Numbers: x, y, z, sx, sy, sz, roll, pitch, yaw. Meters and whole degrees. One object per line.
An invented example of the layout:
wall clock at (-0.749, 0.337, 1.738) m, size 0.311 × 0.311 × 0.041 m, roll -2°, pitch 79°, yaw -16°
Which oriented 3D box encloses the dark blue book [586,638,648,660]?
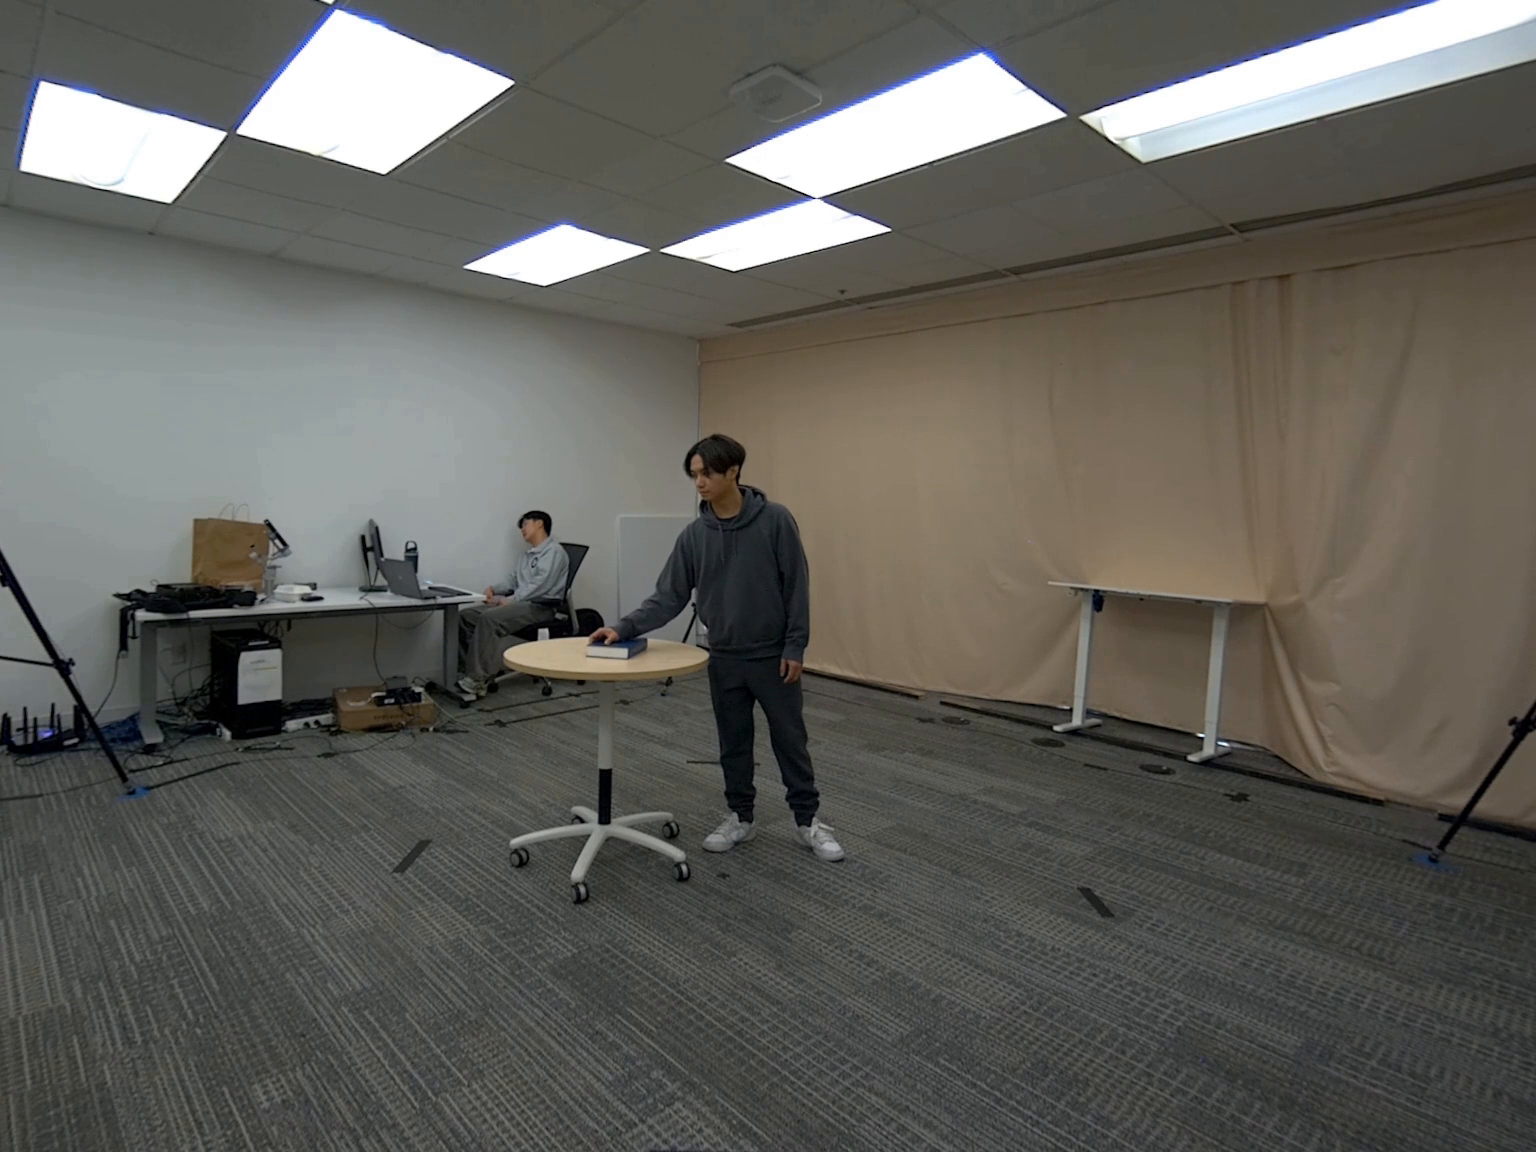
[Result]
dark blue book at (-0.575, 0.270, 3.182) m, size 0.165 × 0.045 × 0.244 m, roll 2°, pitch 4°, yaw 8°
